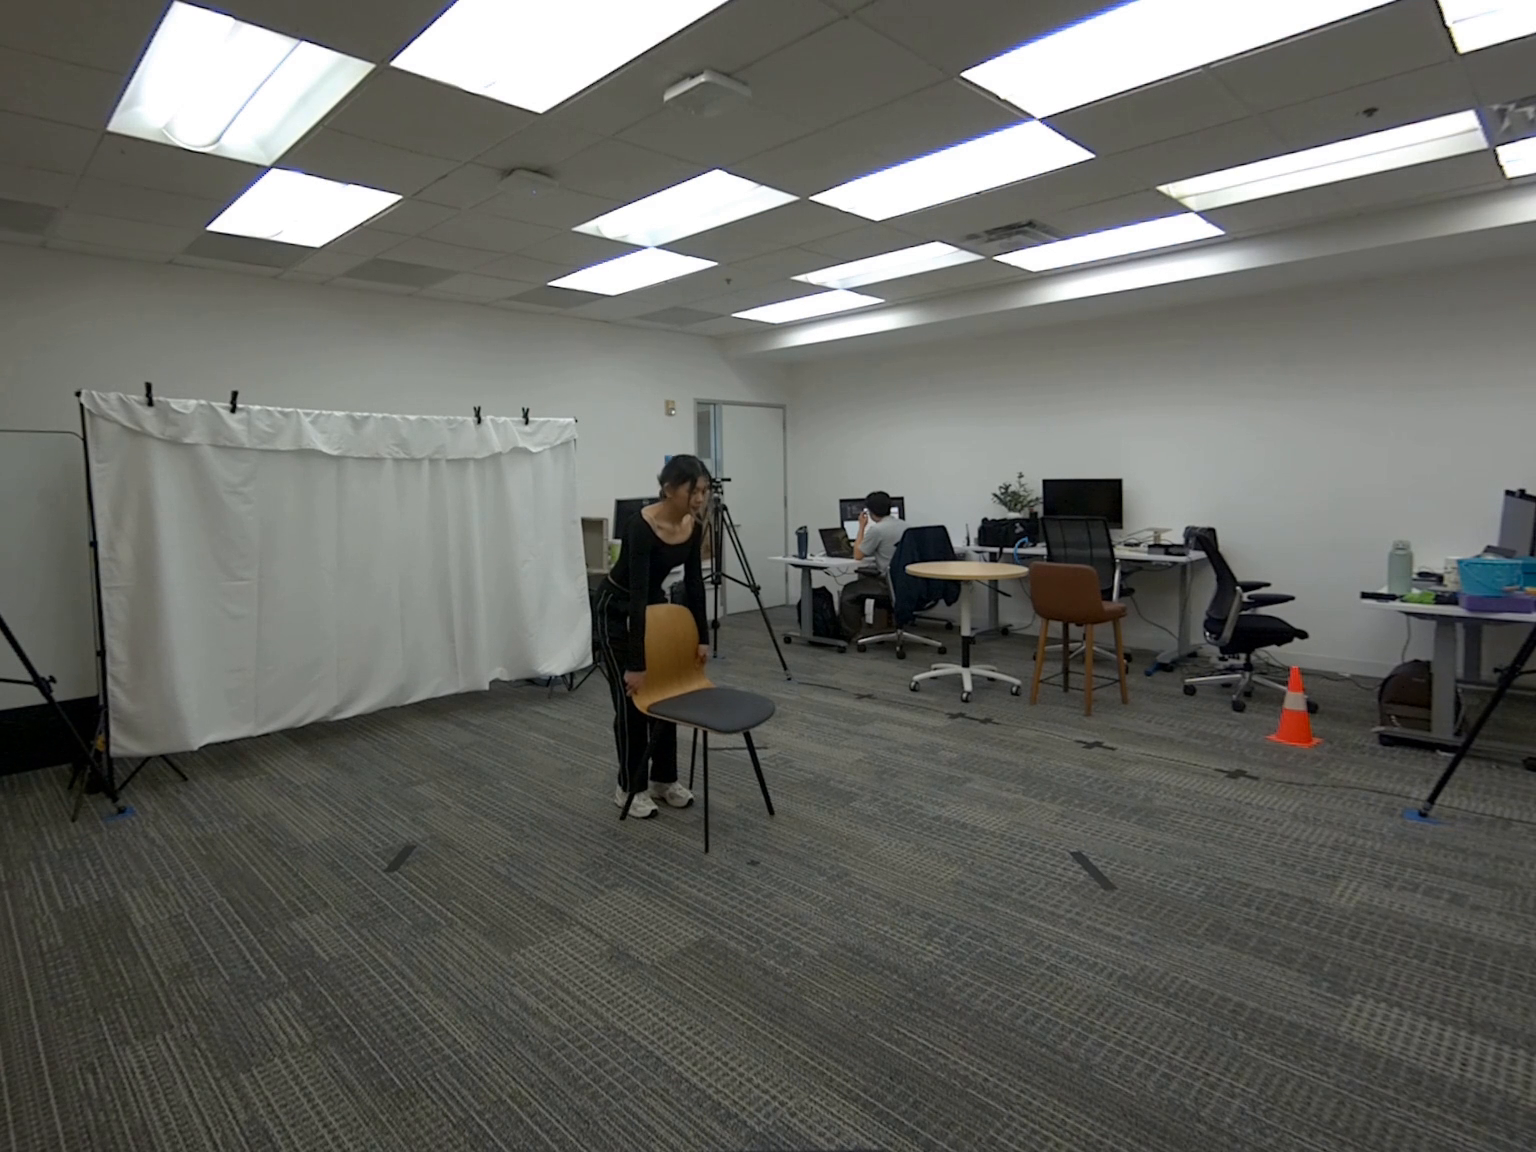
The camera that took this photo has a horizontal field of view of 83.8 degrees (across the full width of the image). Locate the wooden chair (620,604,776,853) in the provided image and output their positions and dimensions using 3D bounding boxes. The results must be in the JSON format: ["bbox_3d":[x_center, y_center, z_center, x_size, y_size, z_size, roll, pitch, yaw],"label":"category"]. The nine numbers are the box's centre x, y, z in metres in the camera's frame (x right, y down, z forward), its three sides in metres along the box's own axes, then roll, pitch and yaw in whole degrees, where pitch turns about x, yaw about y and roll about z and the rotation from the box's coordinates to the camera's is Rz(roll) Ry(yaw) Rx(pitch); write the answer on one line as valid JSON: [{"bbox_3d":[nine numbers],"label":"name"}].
[{"bbox_3d":[-0.268,0.565,3.444,0.538,0.876,0.466,0,3,36],"label":"wooden chair"}]
